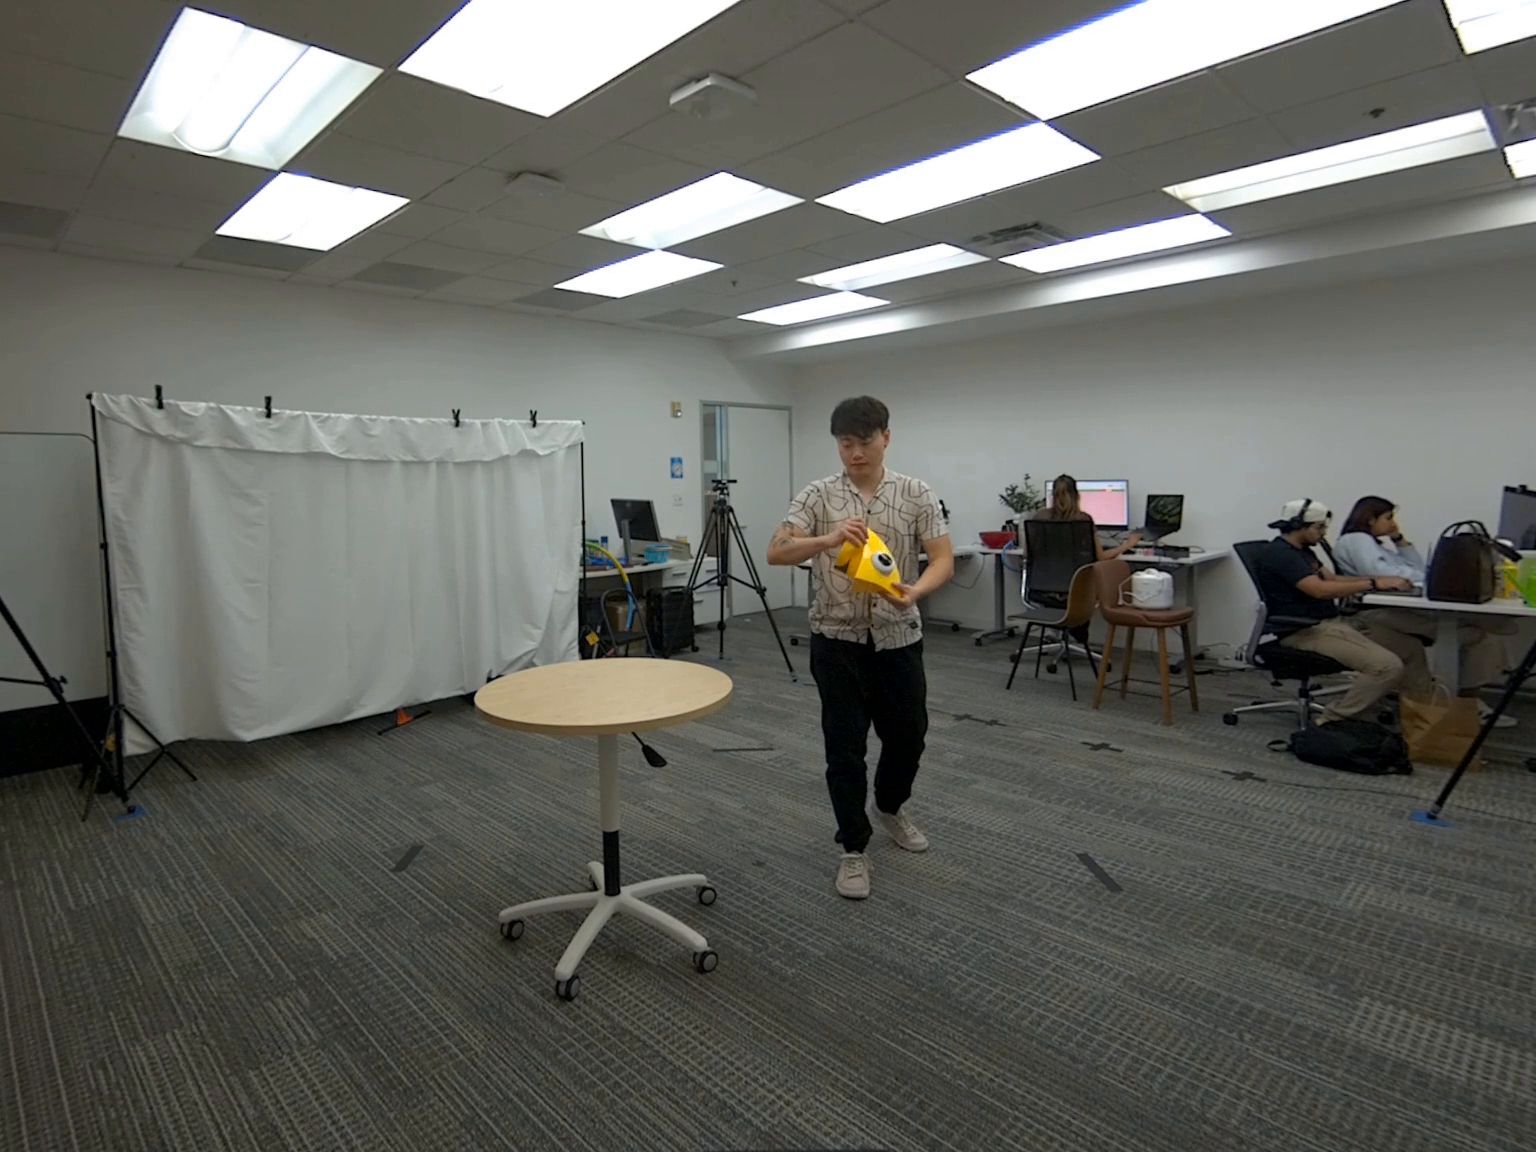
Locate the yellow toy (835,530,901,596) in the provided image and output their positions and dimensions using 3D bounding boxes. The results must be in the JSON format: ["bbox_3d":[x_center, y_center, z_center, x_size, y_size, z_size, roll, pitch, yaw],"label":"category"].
[{"bbox_3d":[0.343,-0.028,2.695,0.234,0.193,0.201,32,-11,9],"label":"yellow toy"}]
